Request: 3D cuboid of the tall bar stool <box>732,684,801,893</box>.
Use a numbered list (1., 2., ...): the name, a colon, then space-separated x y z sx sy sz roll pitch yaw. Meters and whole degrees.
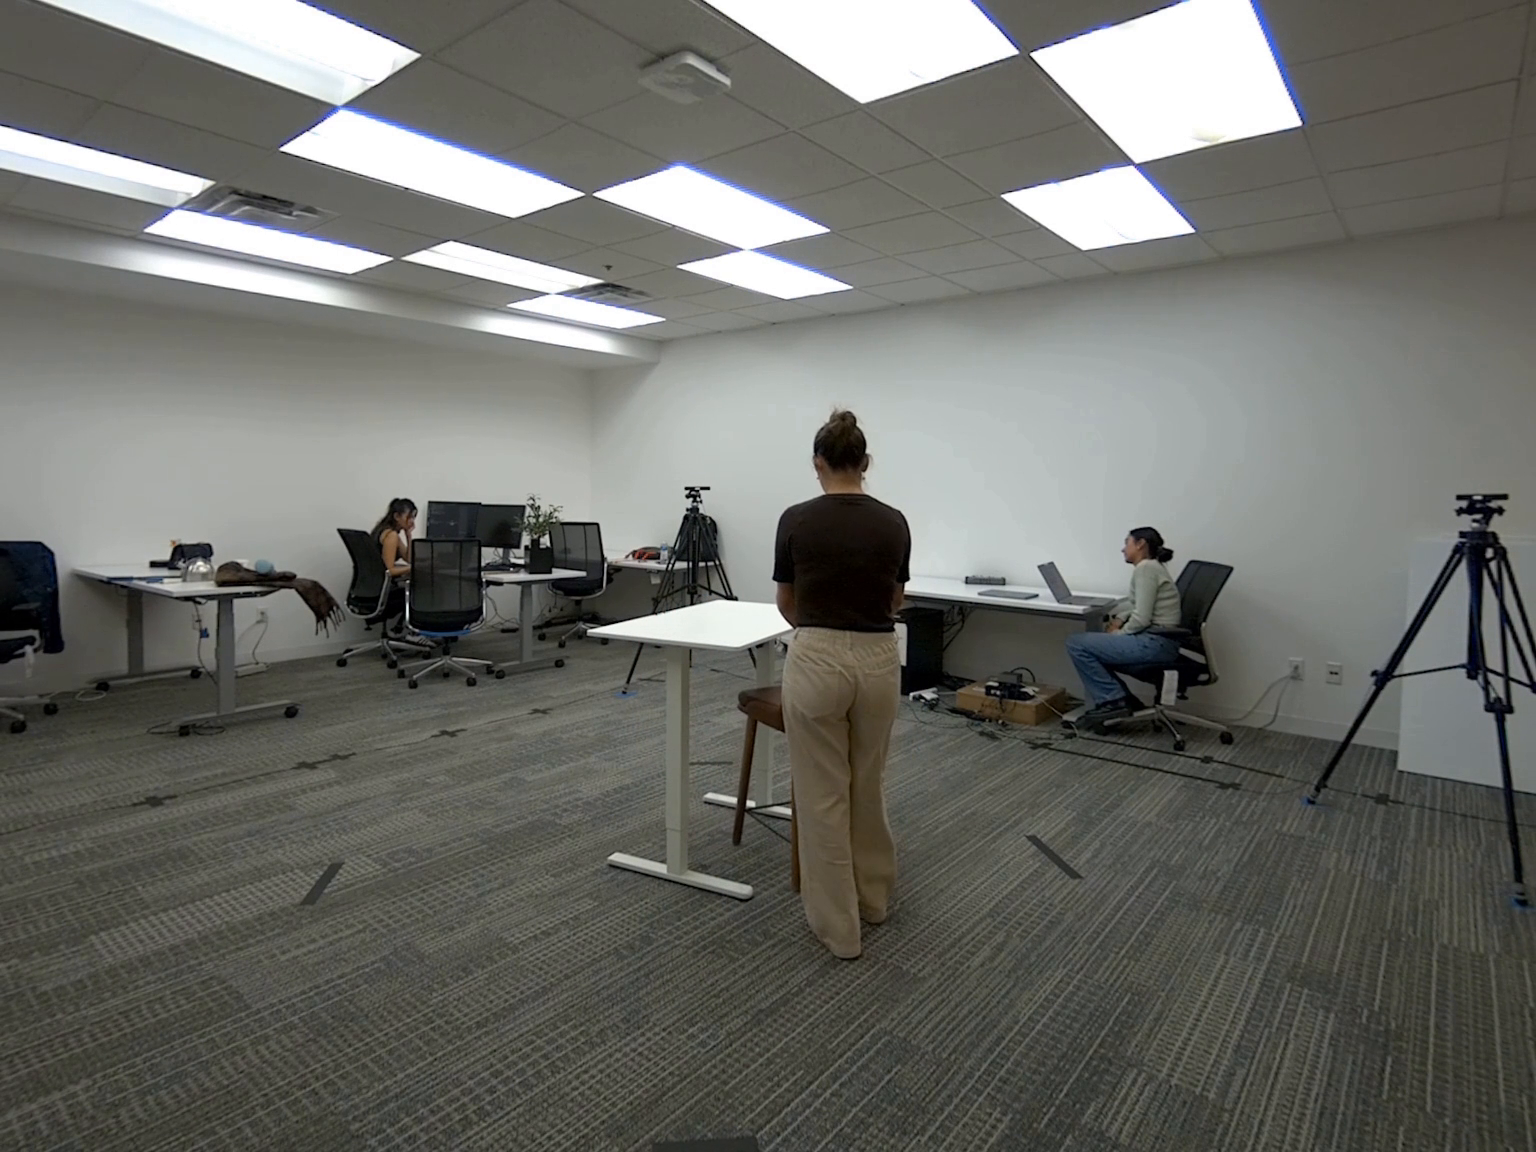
1. tall bar stool: 0.147 0.622 3.179 0.445 0.885 0.482 -1 6 -28
